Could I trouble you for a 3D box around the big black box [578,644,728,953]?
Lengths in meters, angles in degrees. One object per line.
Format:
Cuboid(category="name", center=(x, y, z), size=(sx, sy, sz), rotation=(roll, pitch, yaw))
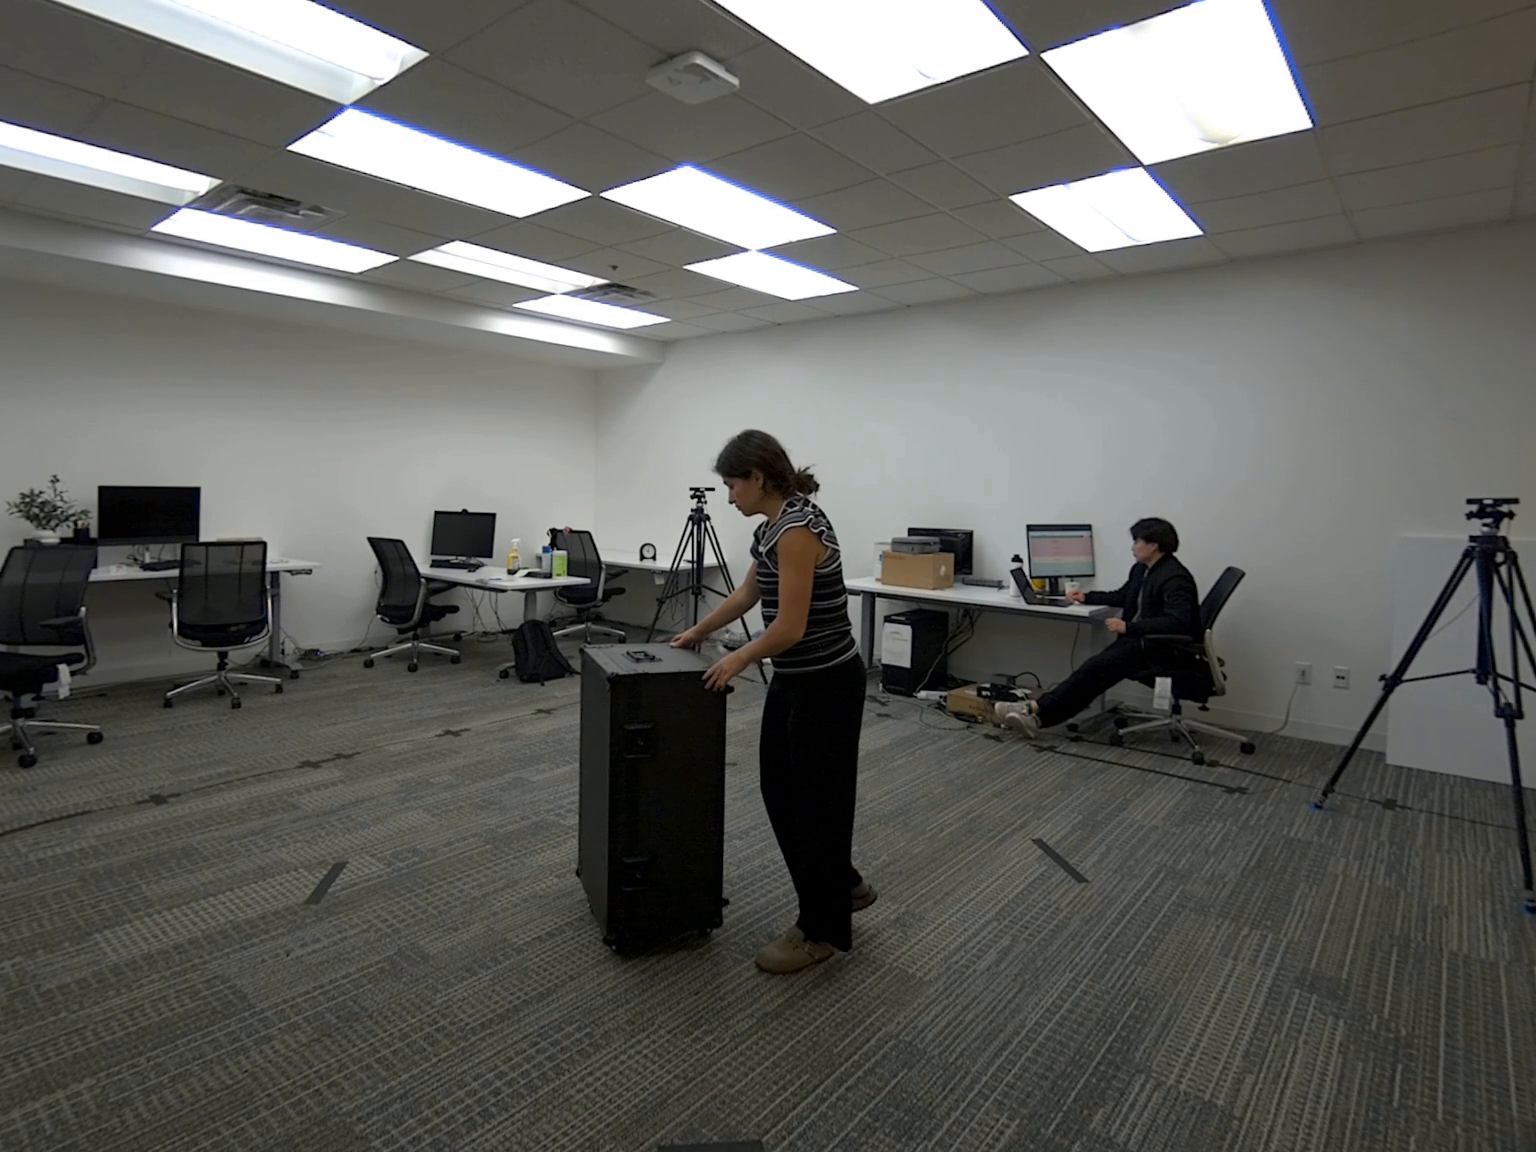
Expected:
Cuboid(category="big black box", center=(-0.386, 0.677, 2.713), size=(0.388, 0.859, 0.534), rotation=(1, 3, -22))
